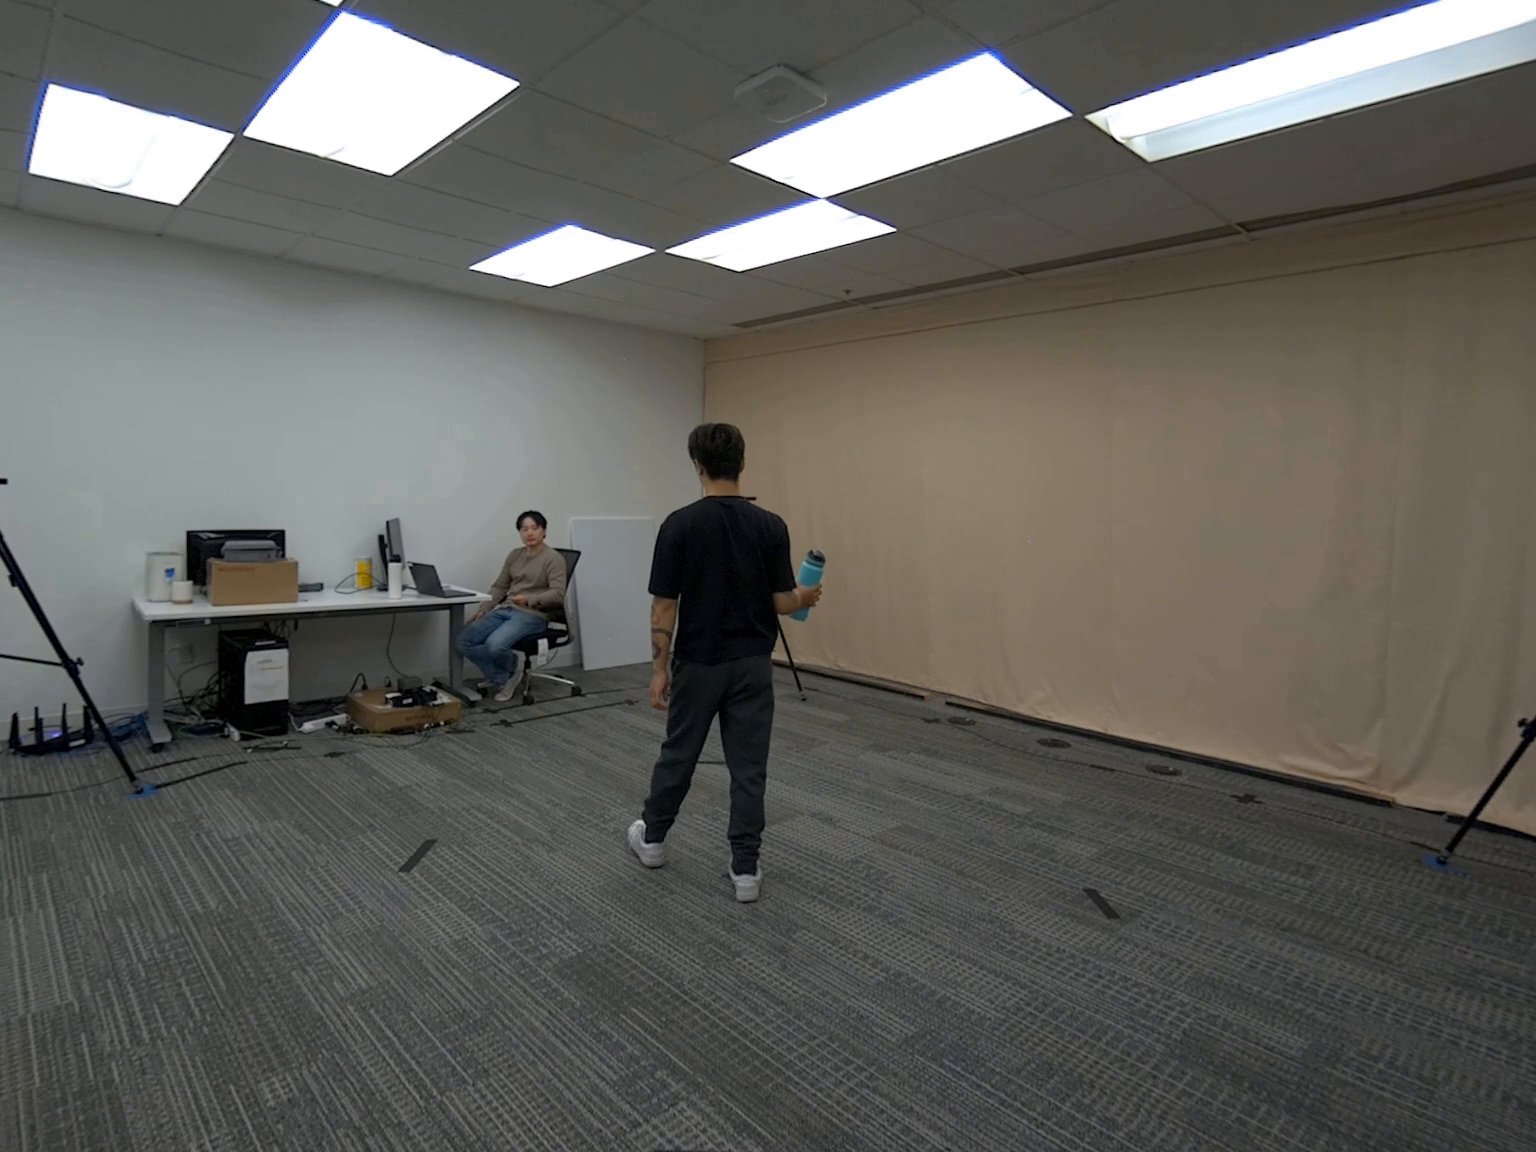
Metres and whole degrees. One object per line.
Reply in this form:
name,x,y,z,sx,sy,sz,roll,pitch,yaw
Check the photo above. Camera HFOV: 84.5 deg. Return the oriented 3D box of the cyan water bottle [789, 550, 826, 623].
cyan water bottle,0.143,0.030,3.308,0.092,0.282,0.093,17,10,-5
